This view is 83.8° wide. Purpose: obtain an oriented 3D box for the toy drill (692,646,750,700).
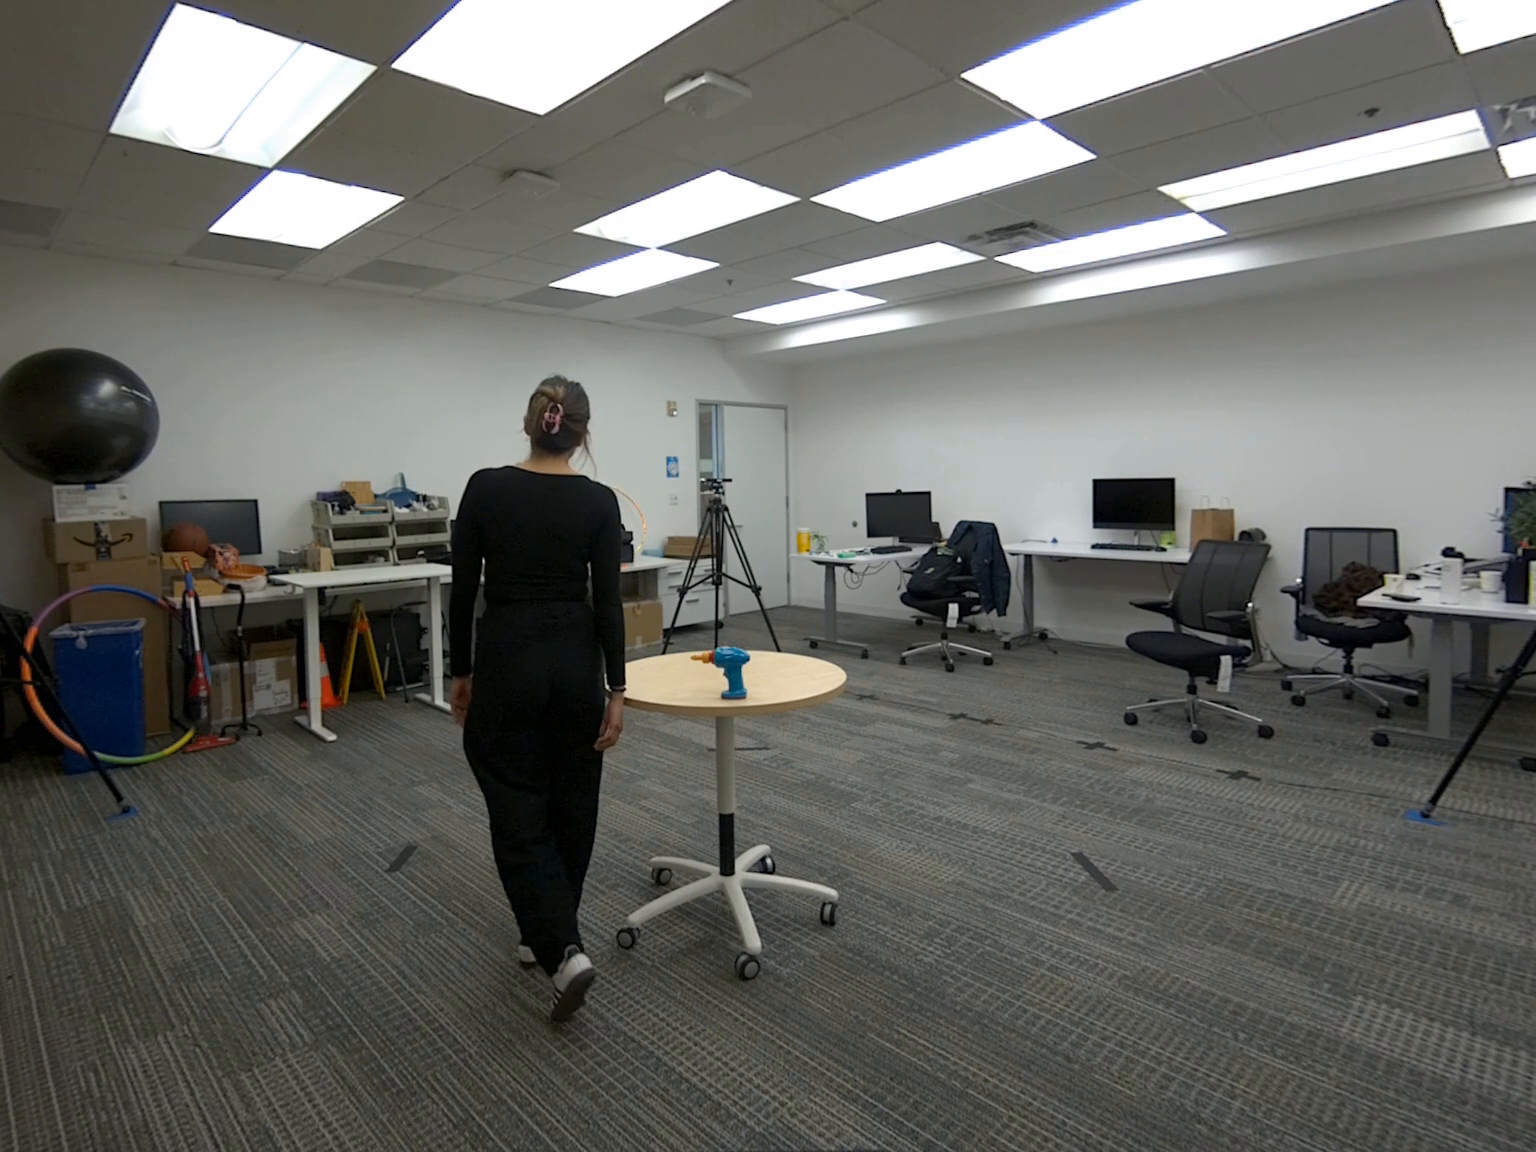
[{"bbox_3d":[-0.134,0.270,2.395,0.171,0.145,0.061,-1,3,6],"label":"toy drill"}]
